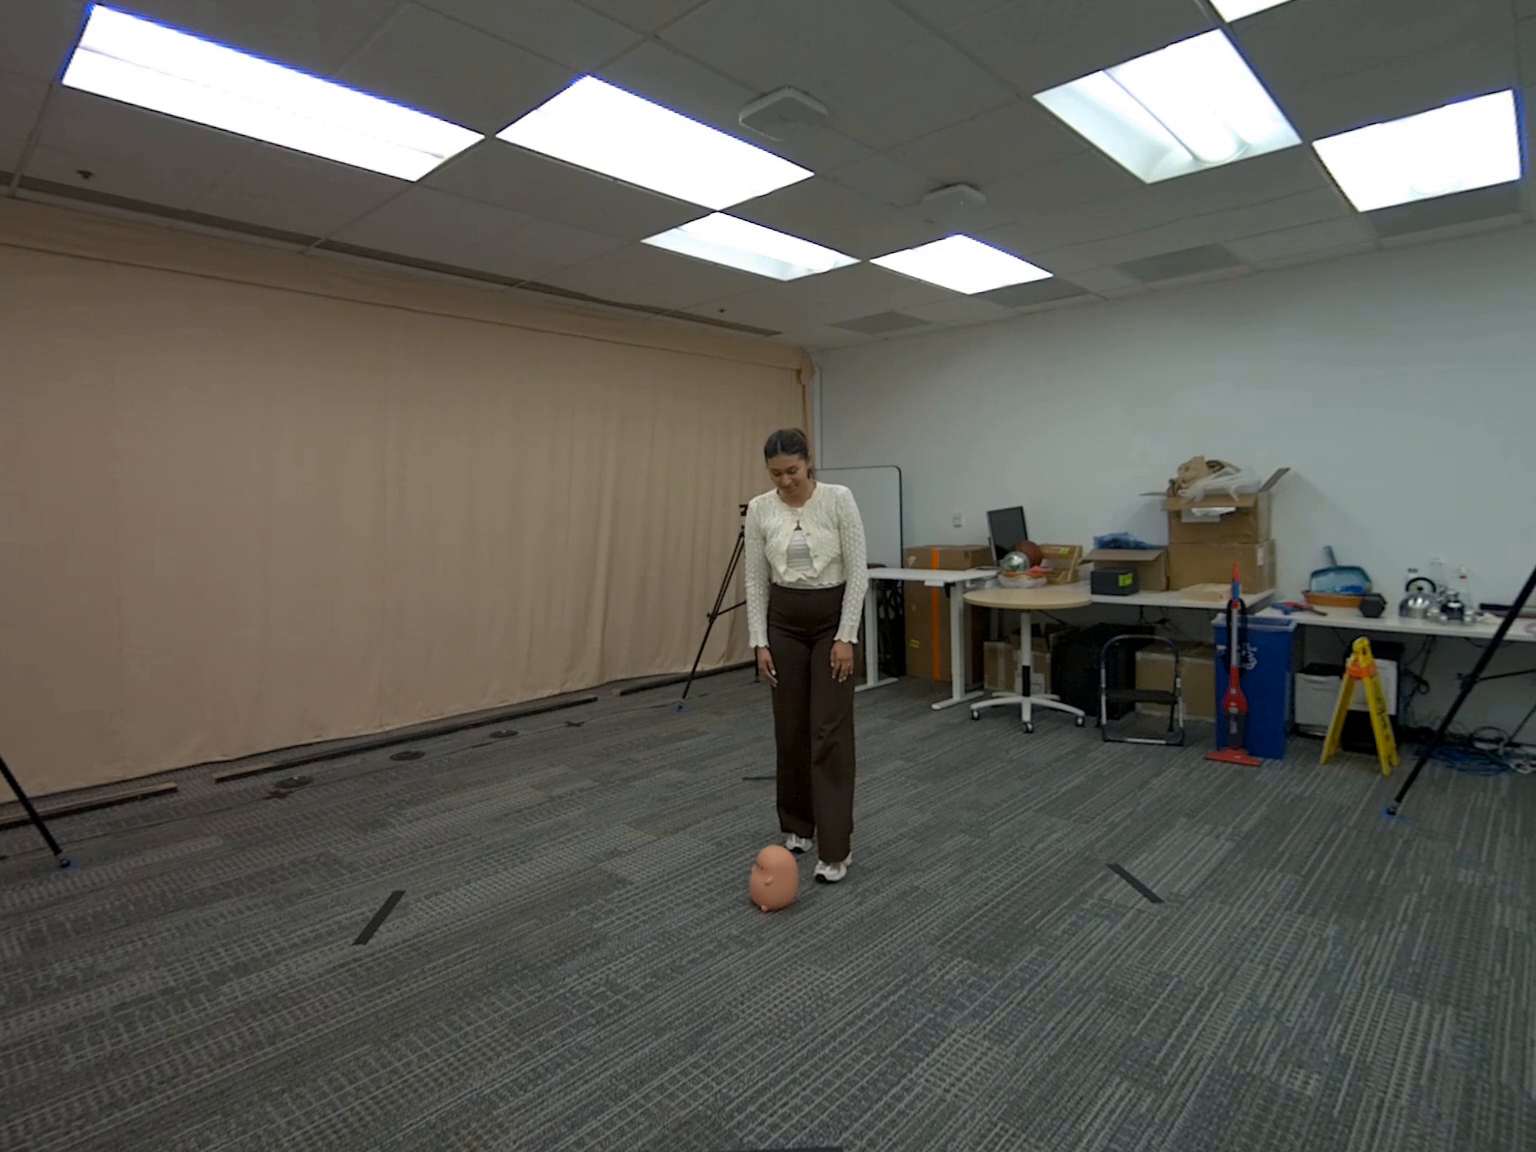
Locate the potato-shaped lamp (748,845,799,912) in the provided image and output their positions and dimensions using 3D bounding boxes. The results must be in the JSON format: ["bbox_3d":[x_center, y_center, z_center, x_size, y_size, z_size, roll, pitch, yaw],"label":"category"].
[{"bbox_3d":[0.023,1.043,2.931,0.168,0.197,0.169,-3,5,-22],"label":"potato-shaped lamp"}]
